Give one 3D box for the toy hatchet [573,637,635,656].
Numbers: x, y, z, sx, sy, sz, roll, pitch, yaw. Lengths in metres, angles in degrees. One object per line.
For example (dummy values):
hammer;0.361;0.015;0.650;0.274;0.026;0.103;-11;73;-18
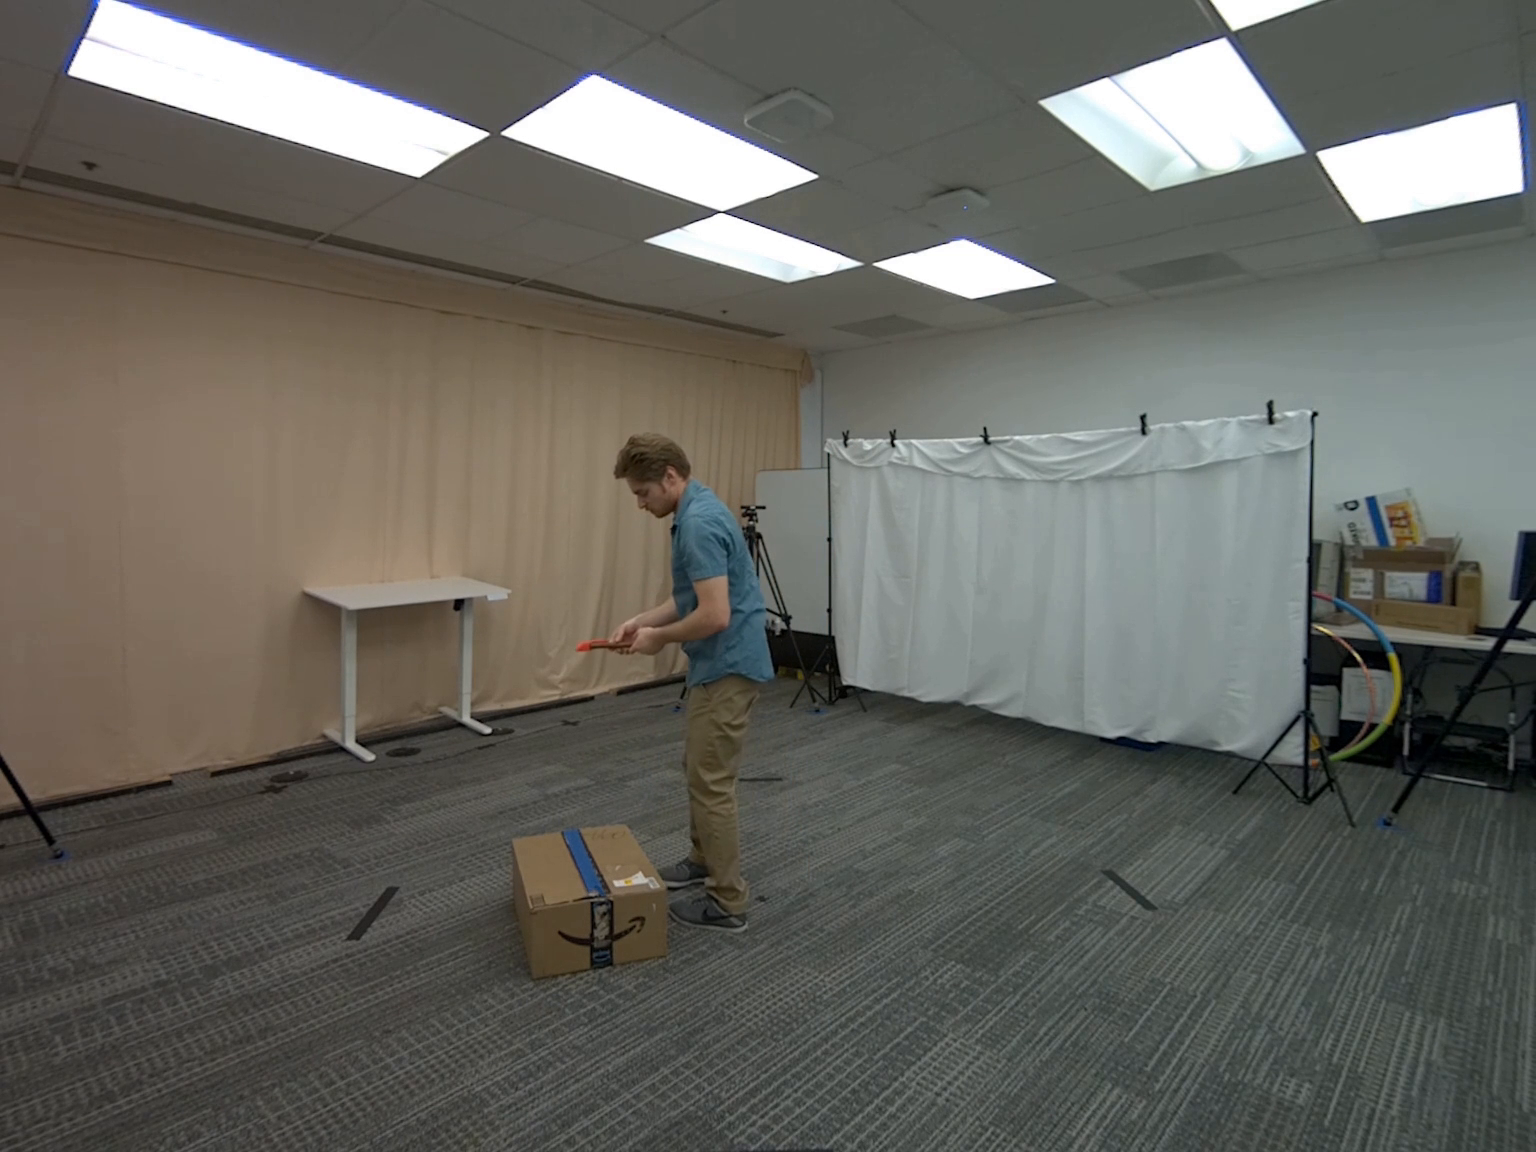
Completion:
toy hatchet;-0.504;0.232;2.848;0.272;0.029;0.131;-2;9;6
